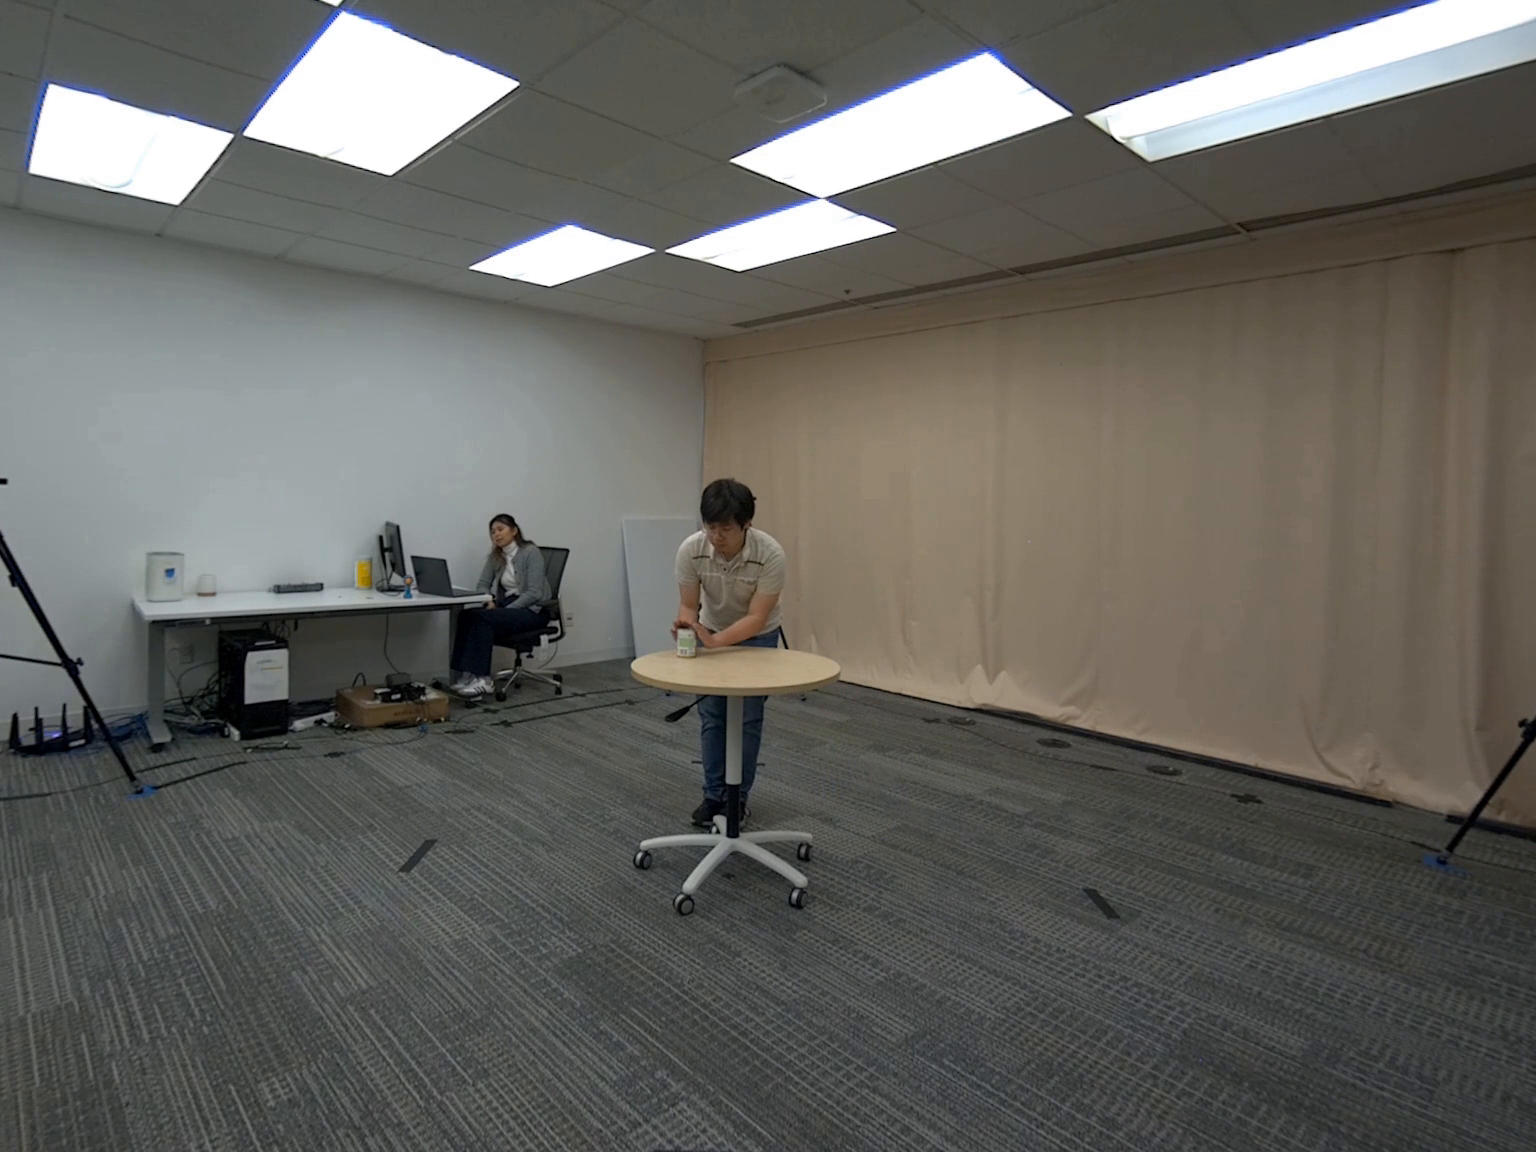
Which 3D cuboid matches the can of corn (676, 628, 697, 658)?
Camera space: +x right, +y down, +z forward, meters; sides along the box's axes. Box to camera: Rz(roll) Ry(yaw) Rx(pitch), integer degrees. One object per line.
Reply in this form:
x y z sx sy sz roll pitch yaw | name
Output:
-0.335 0.262 3.219 0.074 0.111 0.074 2 -1 -1 | can of corn
